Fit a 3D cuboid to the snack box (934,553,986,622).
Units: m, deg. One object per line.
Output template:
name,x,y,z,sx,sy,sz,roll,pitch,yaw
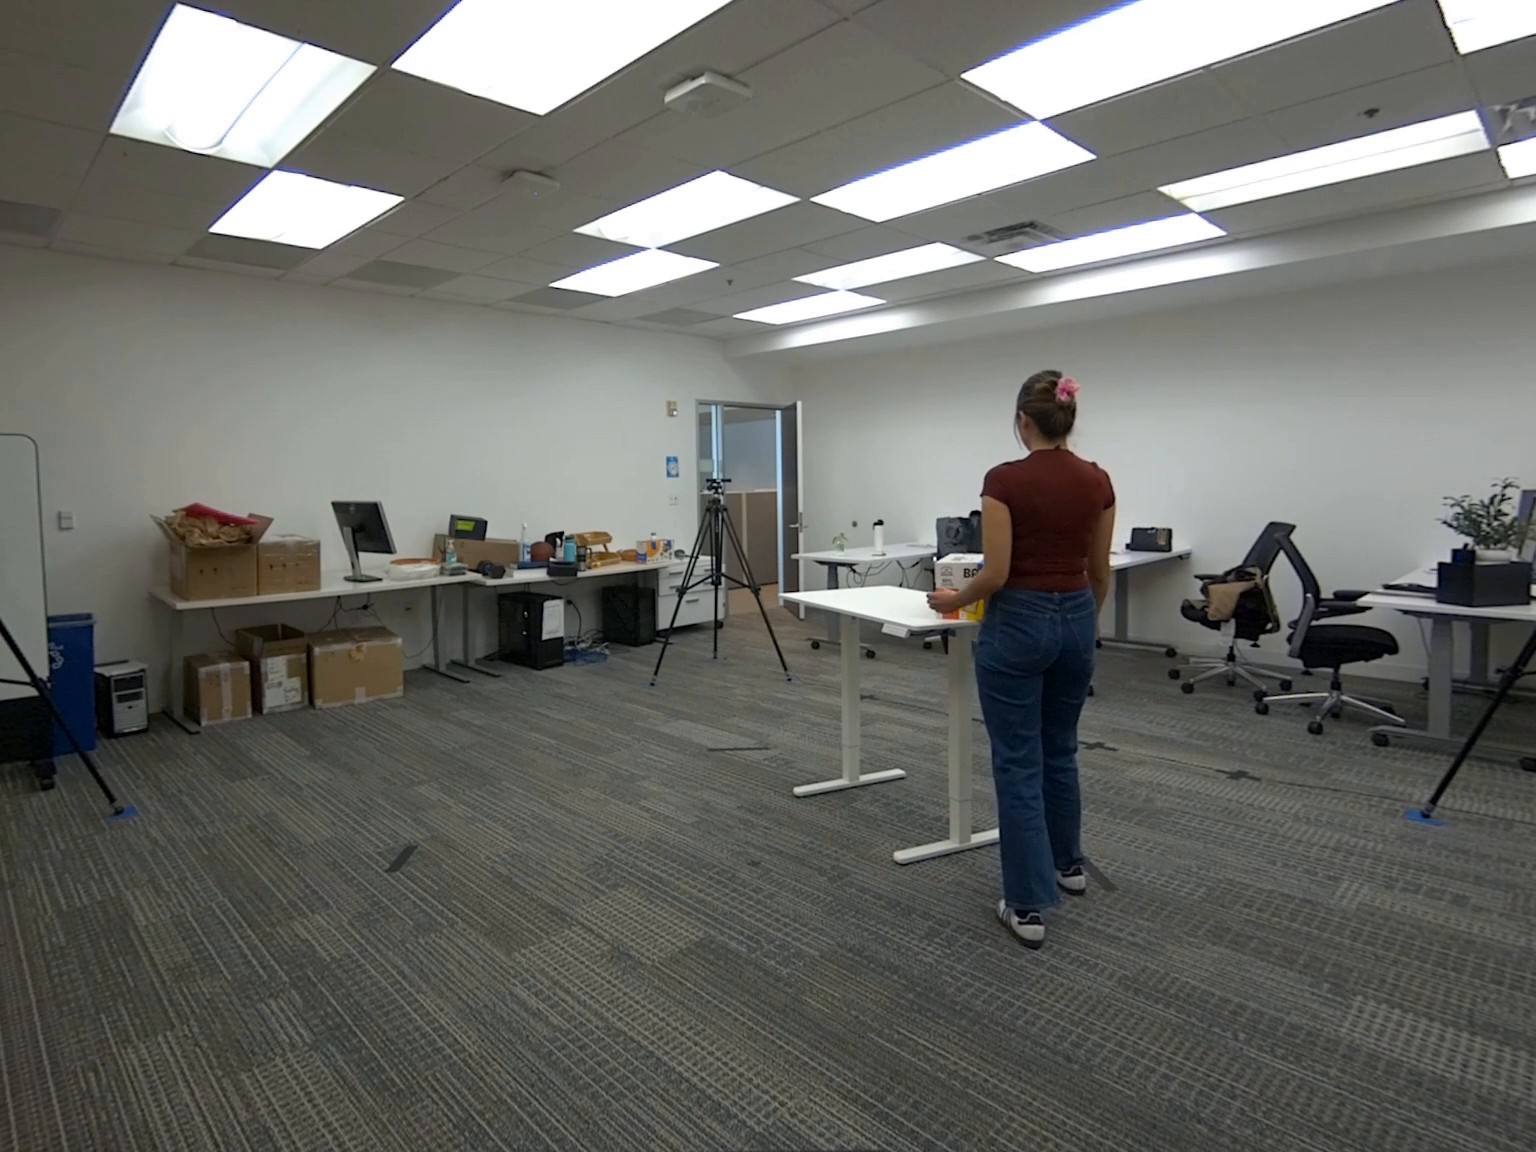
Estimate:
snack box,0.833,0.038,3.190,0.347,0.205,0.399,2,6,20
